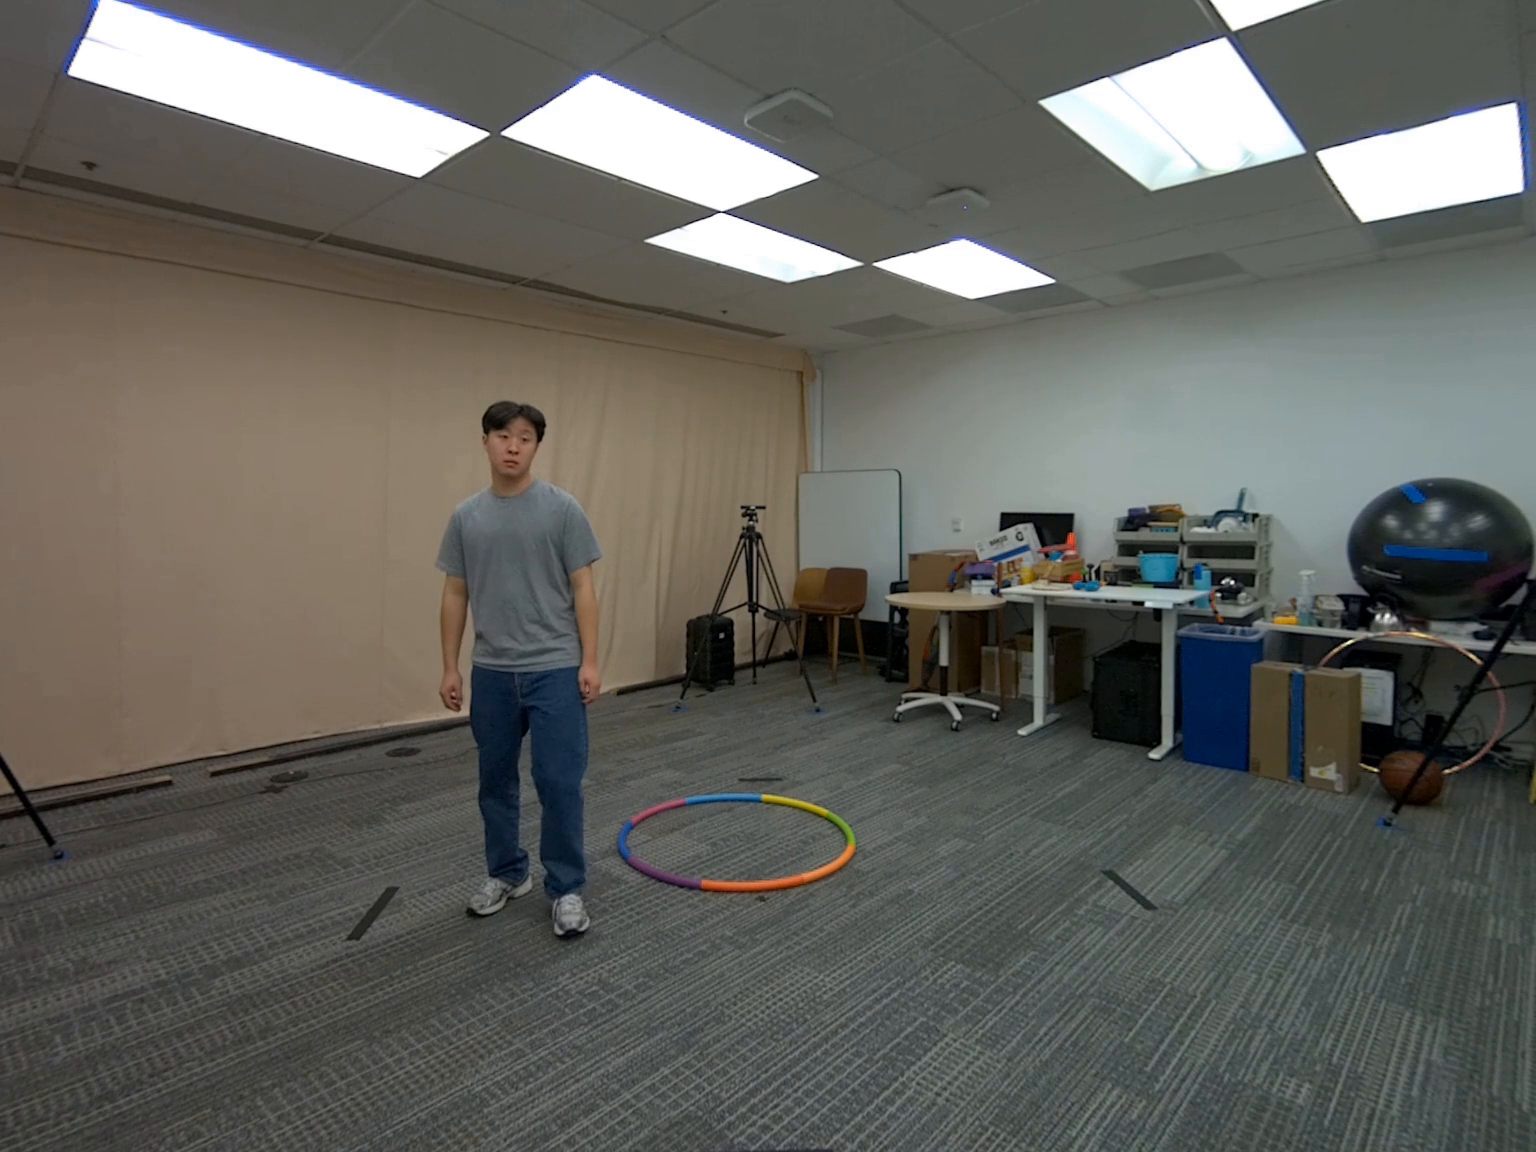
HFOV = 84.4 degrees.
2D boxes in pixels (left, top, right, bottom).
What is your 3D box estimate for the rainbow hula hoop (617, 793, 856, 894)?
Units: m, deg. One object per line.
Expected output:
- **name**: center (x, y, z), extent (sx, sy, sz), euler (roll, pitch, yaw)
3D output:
- **rainbow hula hoop**: center (-0.131, 1.070, 3.509), extent (0.978, 0.035, 0.982), euler (-1, 5, -2)
